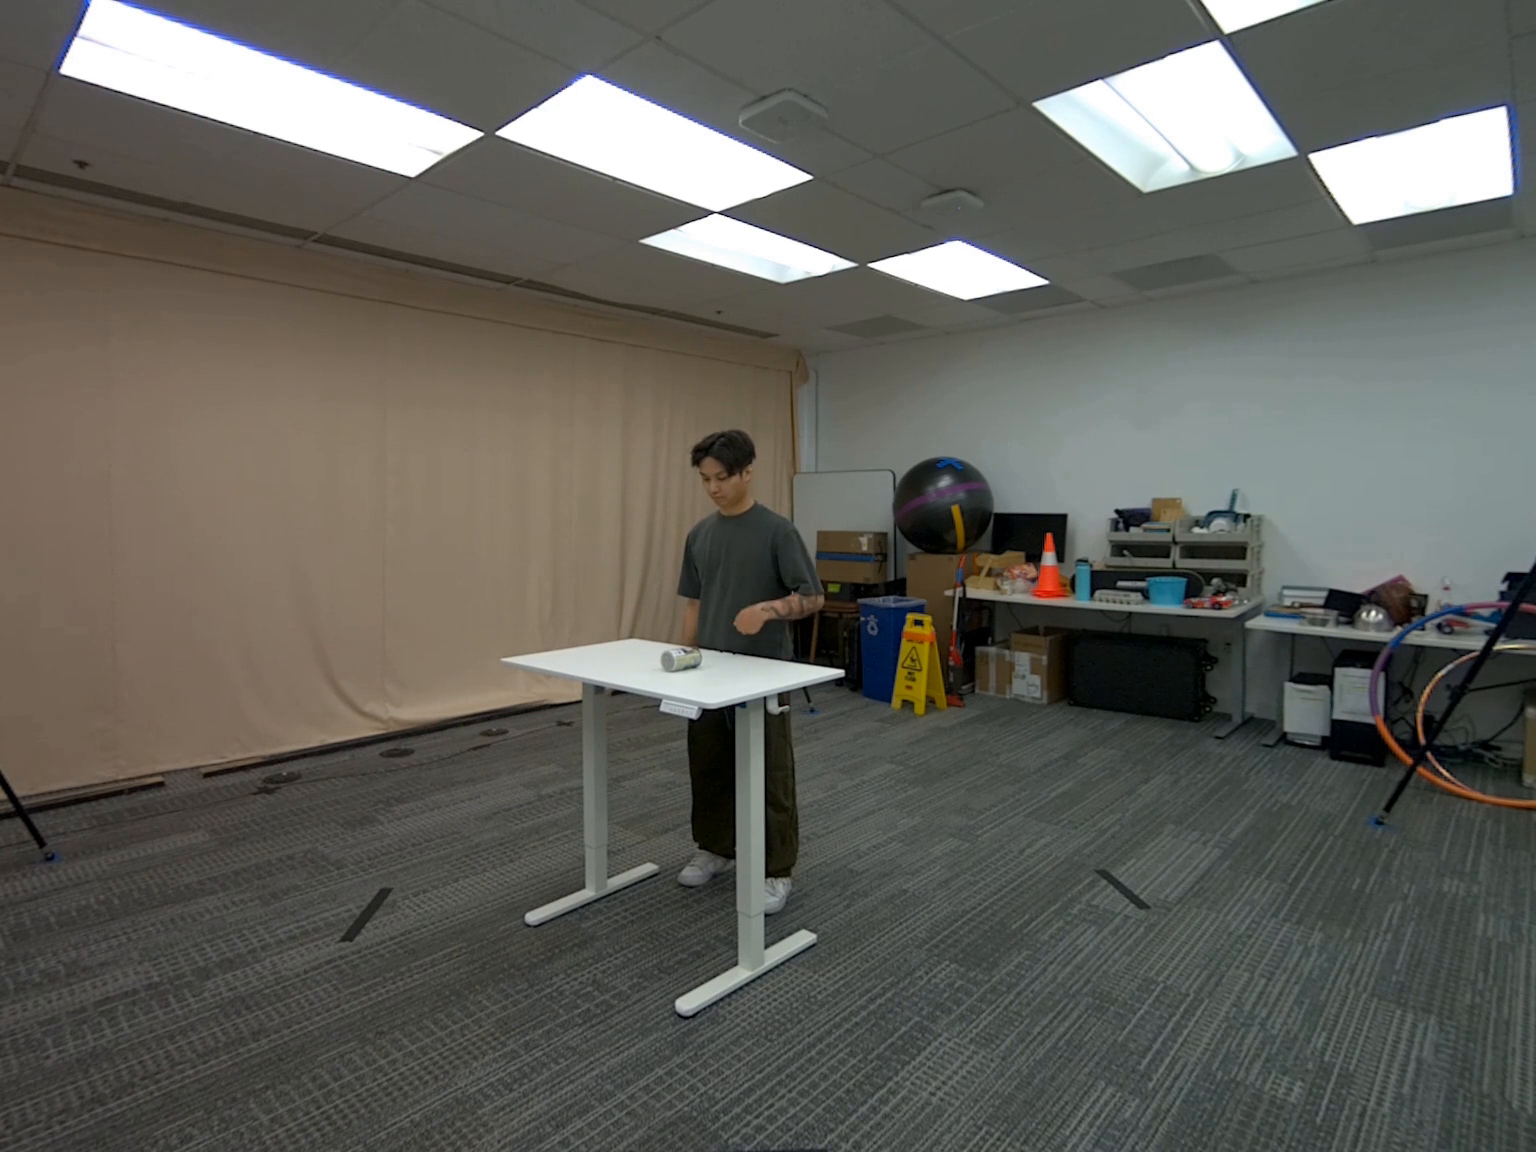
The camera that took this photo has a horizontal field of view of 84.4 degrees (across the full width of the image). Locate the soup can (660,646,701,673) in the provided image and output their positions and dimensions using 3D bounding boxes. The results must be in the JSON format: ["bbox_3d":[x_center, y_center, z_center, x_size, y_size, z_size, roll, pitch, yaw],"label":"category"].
[{"bbox_3d":[-0.273,0.257,2.642,0.118,0.067,0.069,-3,5,-42],"label":"soup can"}]
